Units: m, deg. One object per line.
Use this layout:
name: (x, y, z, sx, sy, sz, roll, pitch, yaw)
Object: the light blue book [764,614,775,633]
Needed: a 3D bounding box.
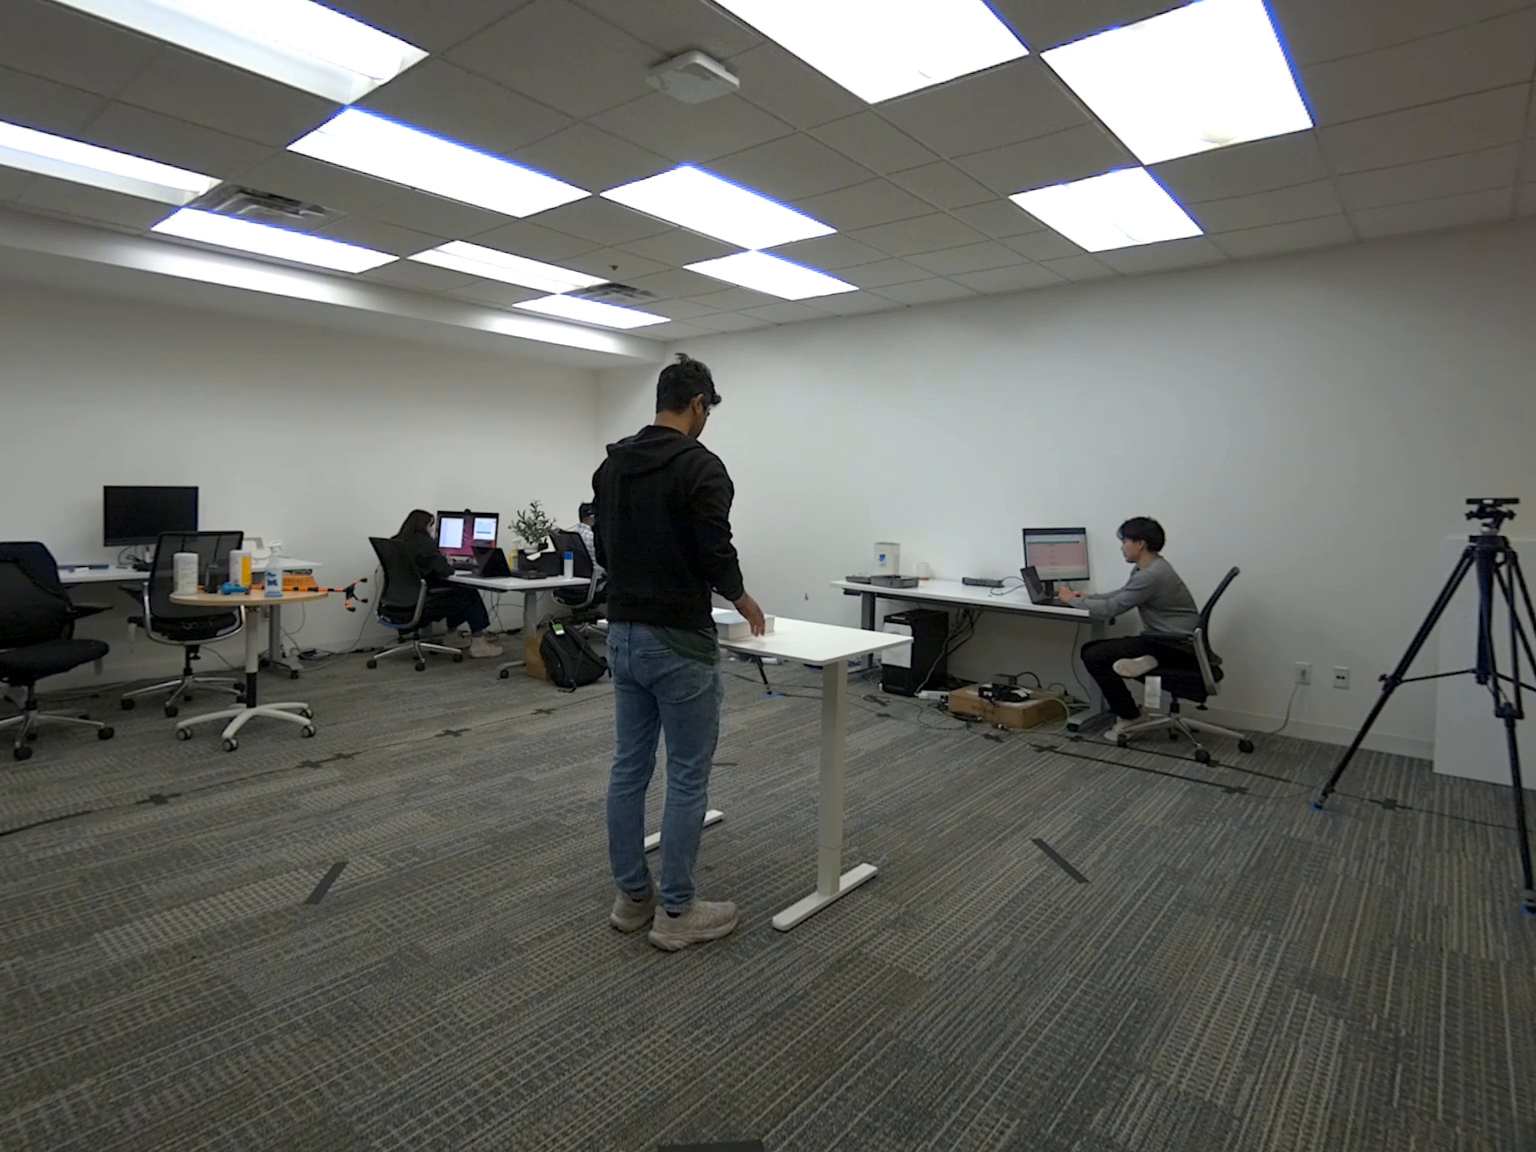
light blue book: (-0.140, 0.173, 2.988, 0.198, 0.059, 0.253, 6, 8, 38)
